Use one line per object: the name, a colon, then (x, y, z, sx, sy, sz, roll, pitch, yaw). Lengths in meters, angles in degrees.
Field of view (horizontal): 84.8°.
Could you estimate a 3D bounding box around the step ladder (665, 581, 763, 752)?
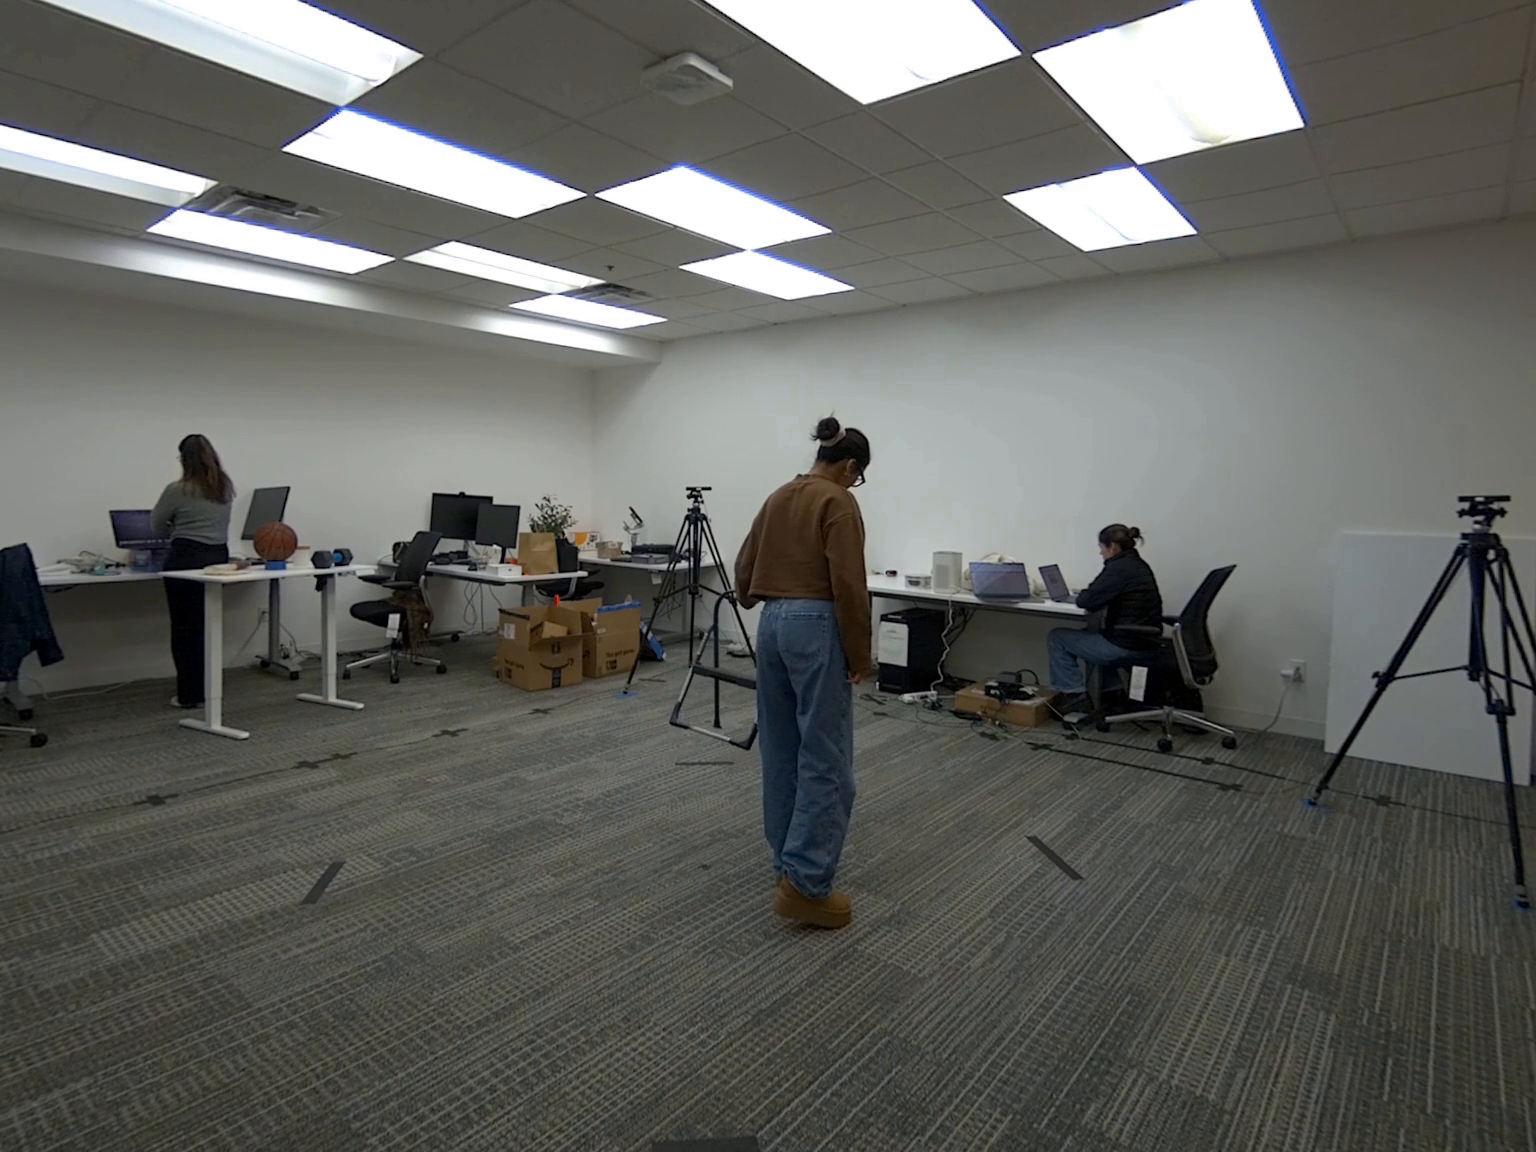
step ladder: (-0.097, 0.372, 3.519, 0.445, 0.608, 0.336, 8, -7, 36)
